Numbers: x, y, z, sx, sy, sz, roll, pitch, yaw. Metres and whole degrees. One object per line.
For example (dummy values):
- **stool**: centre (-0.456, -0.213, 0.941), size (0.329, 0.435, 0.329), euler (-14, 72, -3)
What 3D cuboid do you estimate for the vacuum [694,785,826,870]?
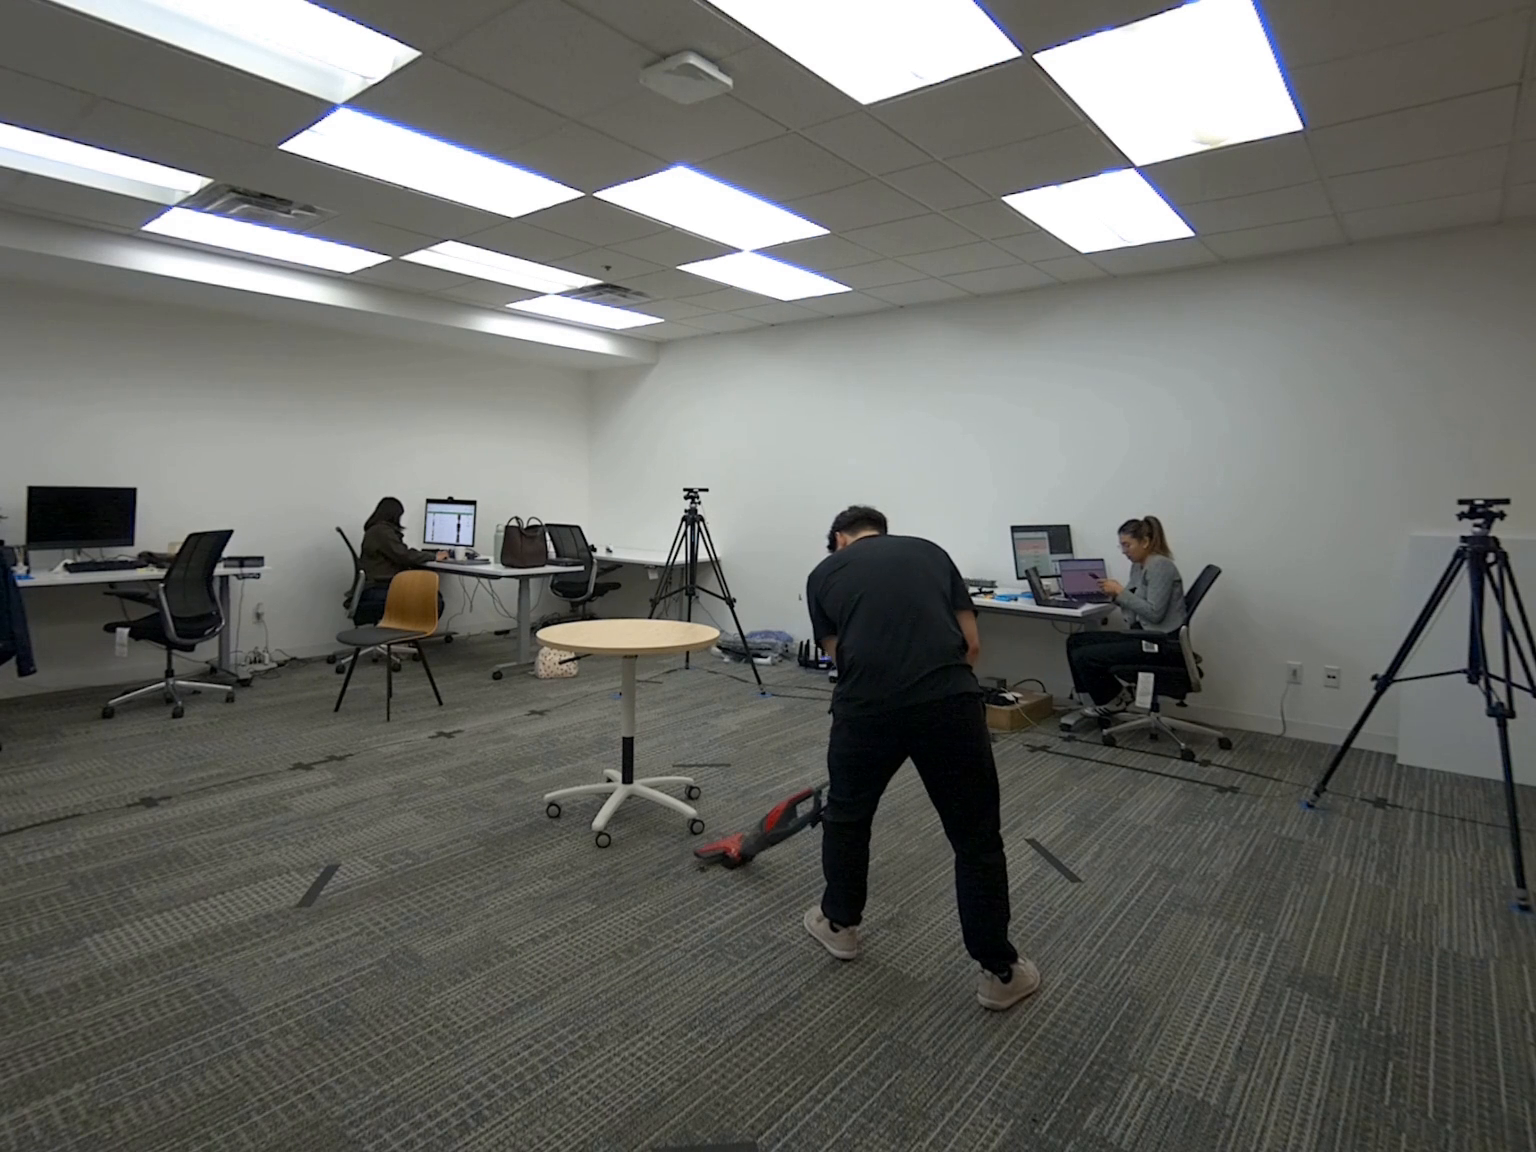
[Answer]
- **vacuum**: centre (0.158, 0.775, 2.895), size (0.245, 0.147, 1.054), euler (-8, -24, -48)
